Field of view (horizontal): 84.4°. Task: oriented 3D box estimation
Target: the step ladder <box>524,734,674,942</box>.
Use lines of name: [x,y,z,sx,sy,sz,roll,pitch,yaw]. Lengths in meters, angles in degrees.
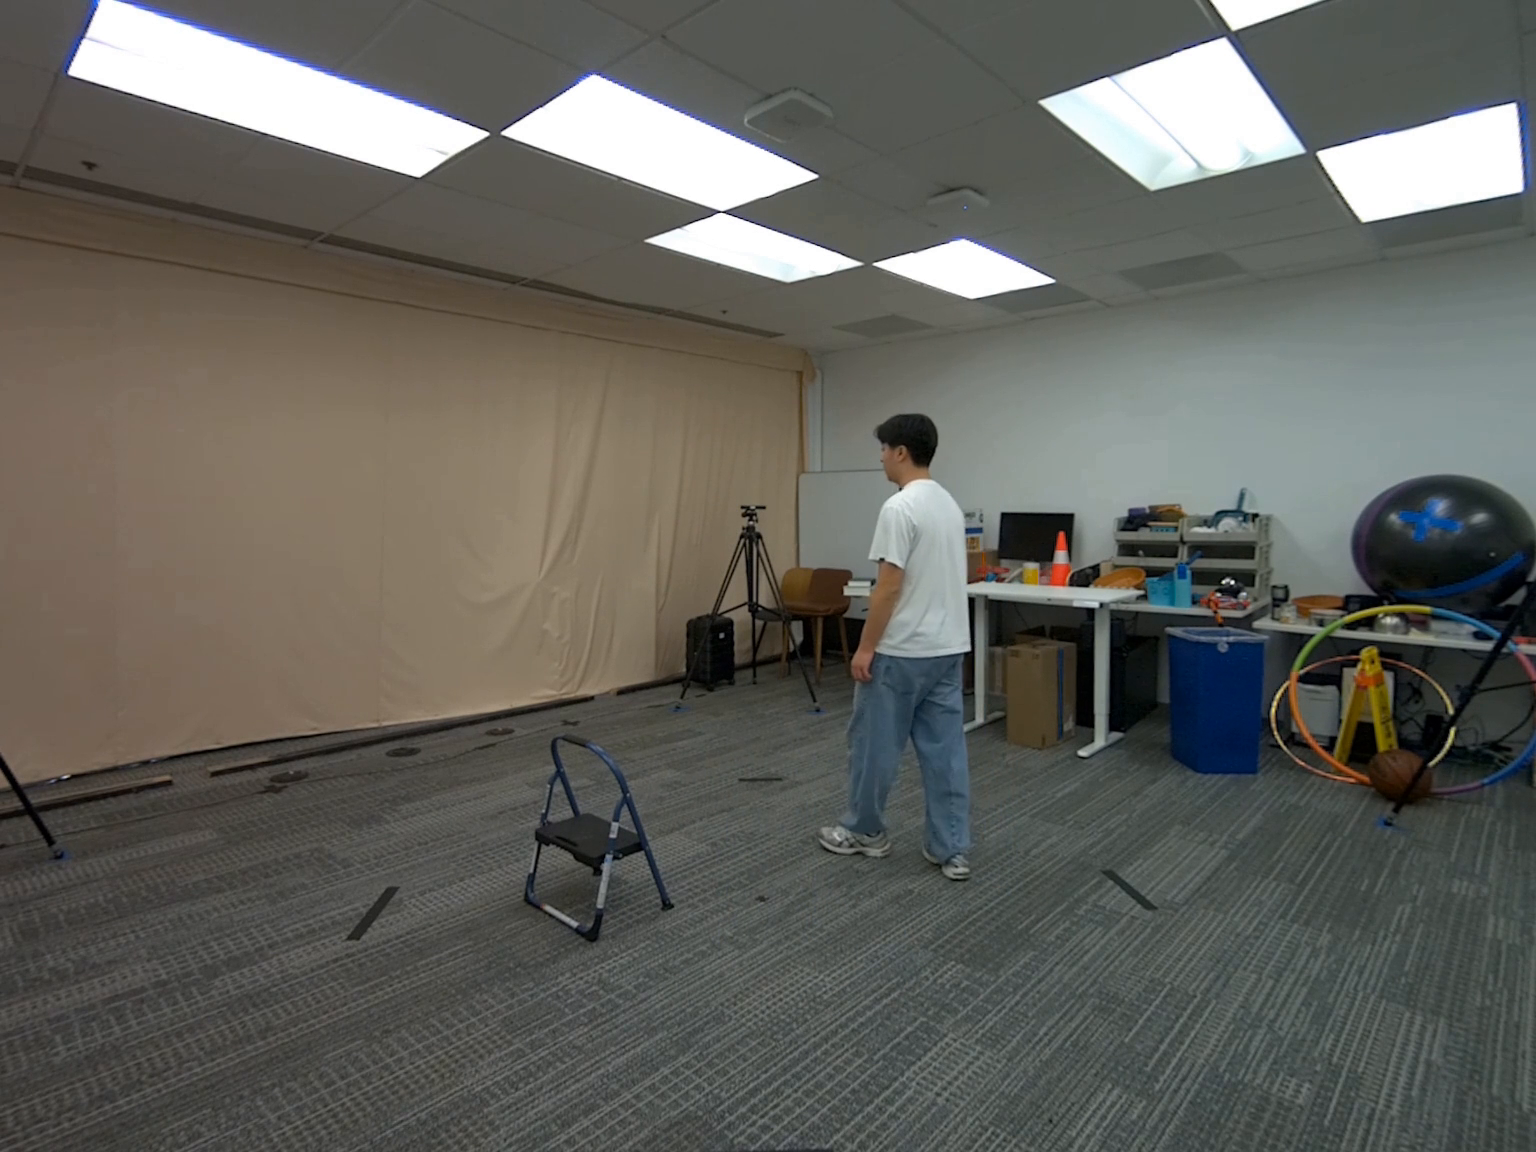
step ladder: [-0.598,0.847,2.937,0.445,0.605,0.338,2,4,43]
